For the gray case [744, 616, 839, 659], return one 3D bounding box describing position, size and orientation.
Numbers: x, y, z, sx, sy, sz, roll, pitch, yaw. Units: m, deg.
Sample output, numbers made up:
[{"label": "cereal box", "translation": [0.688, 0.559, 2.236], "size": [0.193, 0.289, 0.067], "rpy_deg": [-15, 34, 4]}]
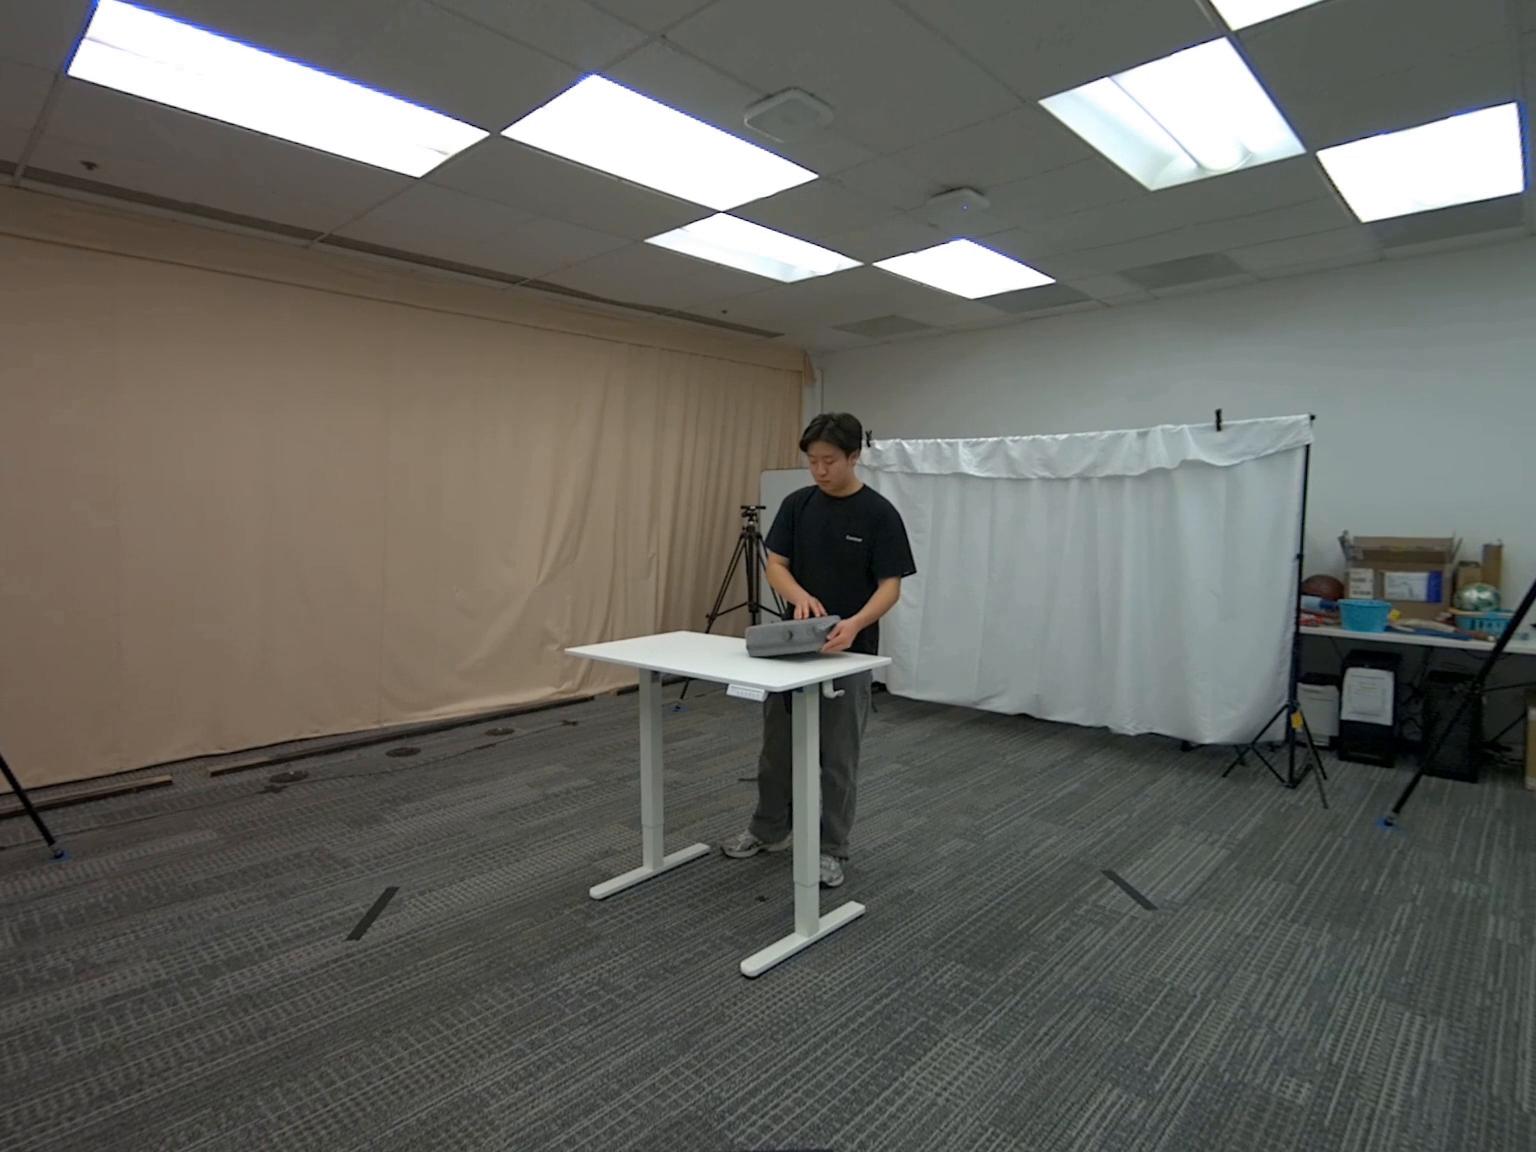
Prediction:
[{"label": "gray case", "translation": [0.083, 0.203, 2.836], "size": [0.268, 0.104, 0.249], "rpy_deg": [-7, -3, 40]}]
